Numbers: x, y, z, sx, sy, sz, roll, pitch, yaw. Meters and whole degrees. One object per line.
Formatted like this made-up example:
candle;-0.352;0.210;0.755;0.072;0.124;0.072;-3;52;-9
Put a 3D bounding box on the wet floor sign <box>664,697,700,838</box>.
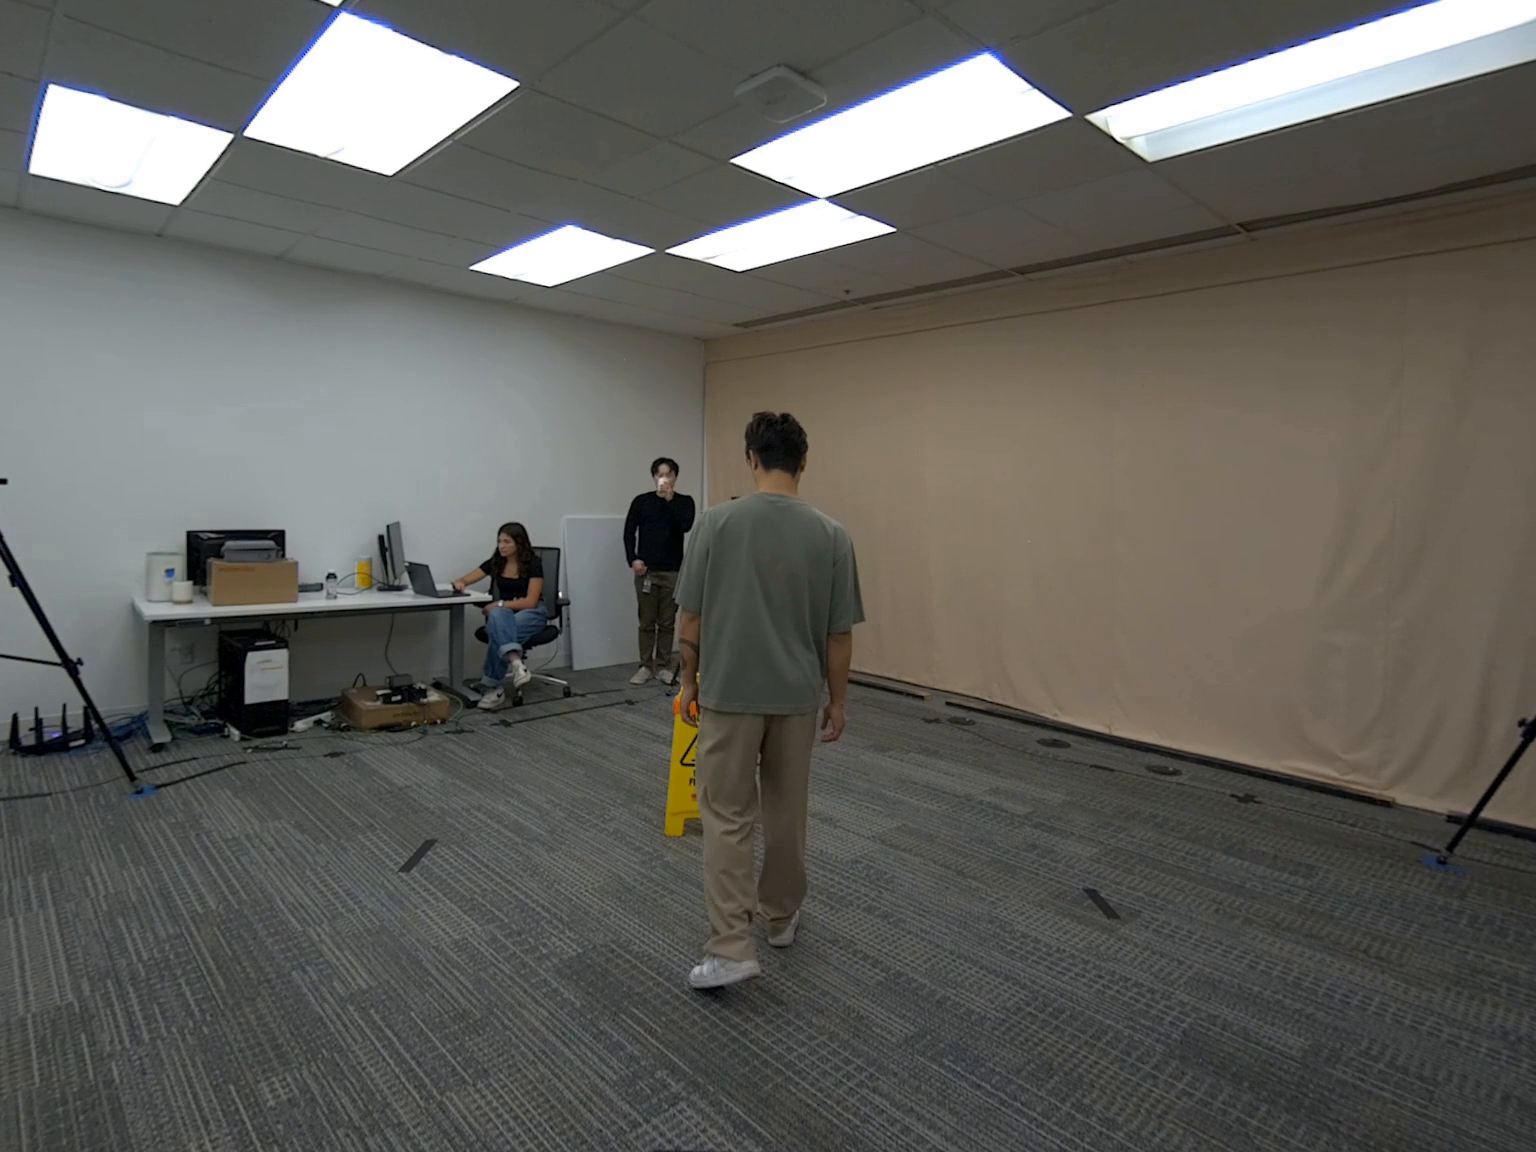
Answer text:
wet floor sign;-0.283;0.737;3.557;0.283;0.644;0.290;1;4;3
